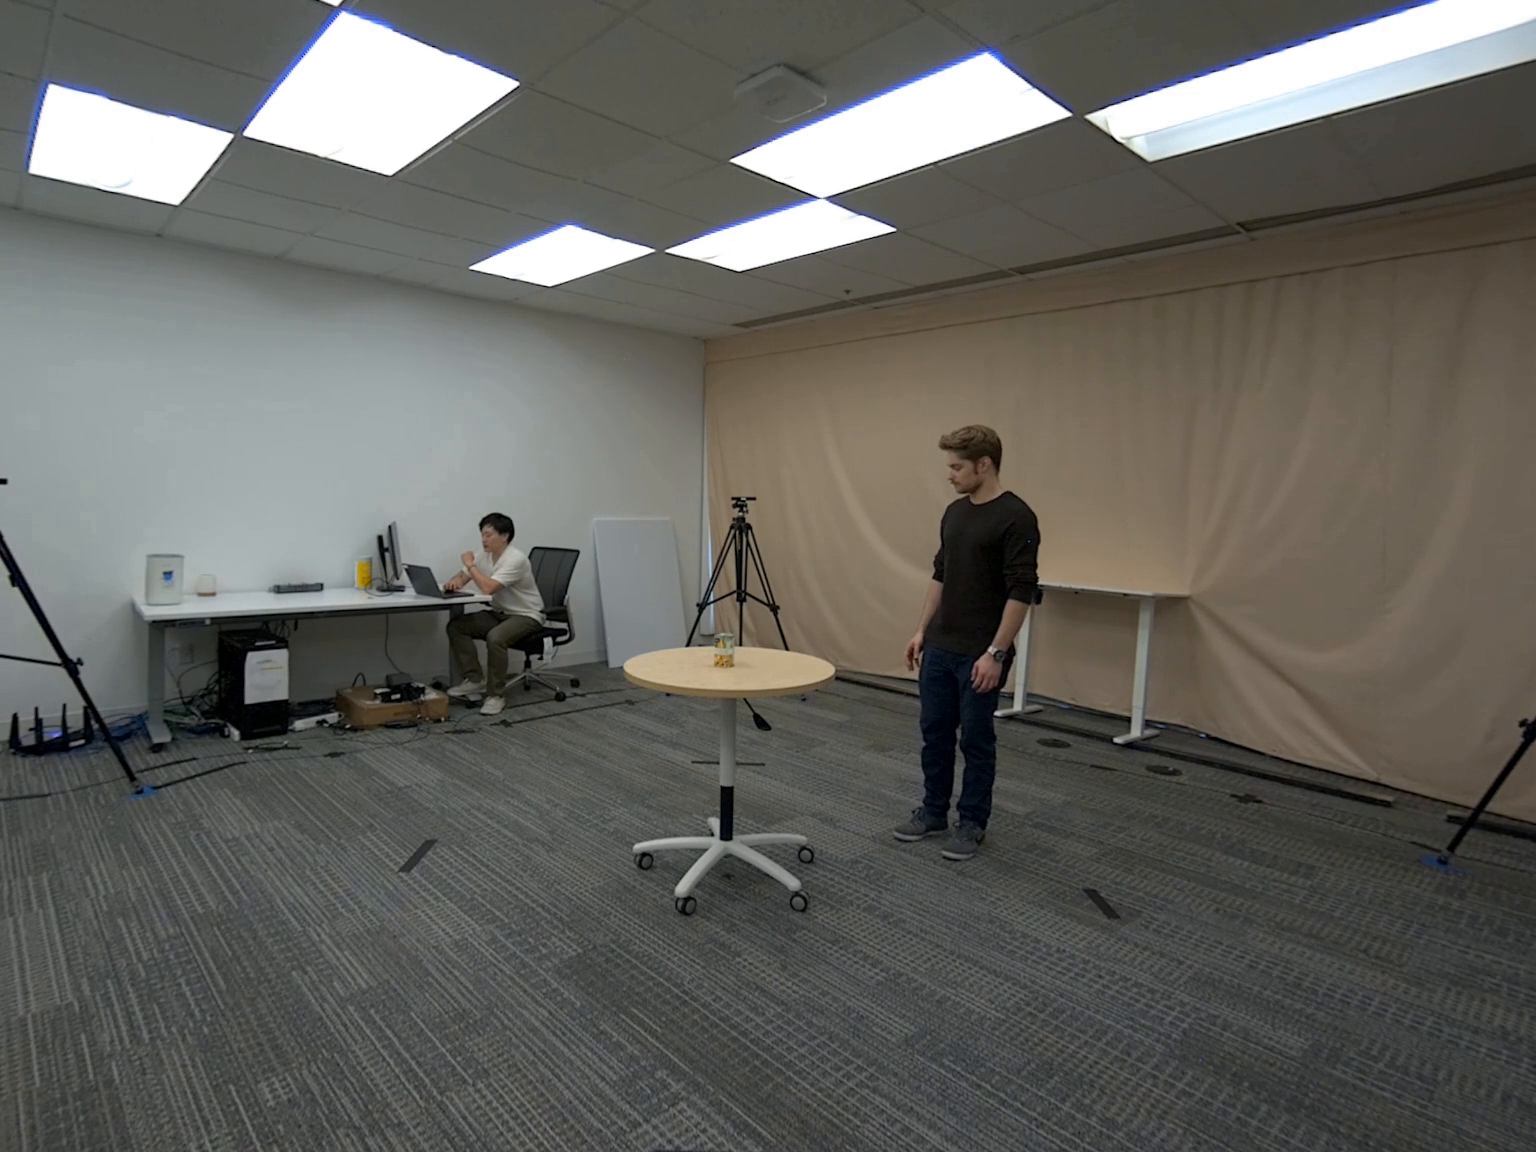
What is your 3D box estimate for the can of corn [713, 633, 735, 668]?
[{"bbox_3d":[-0.166,0.272,3.054,0.074,0.111,0.074,2,1,-1],"label":"can of corn"}]
